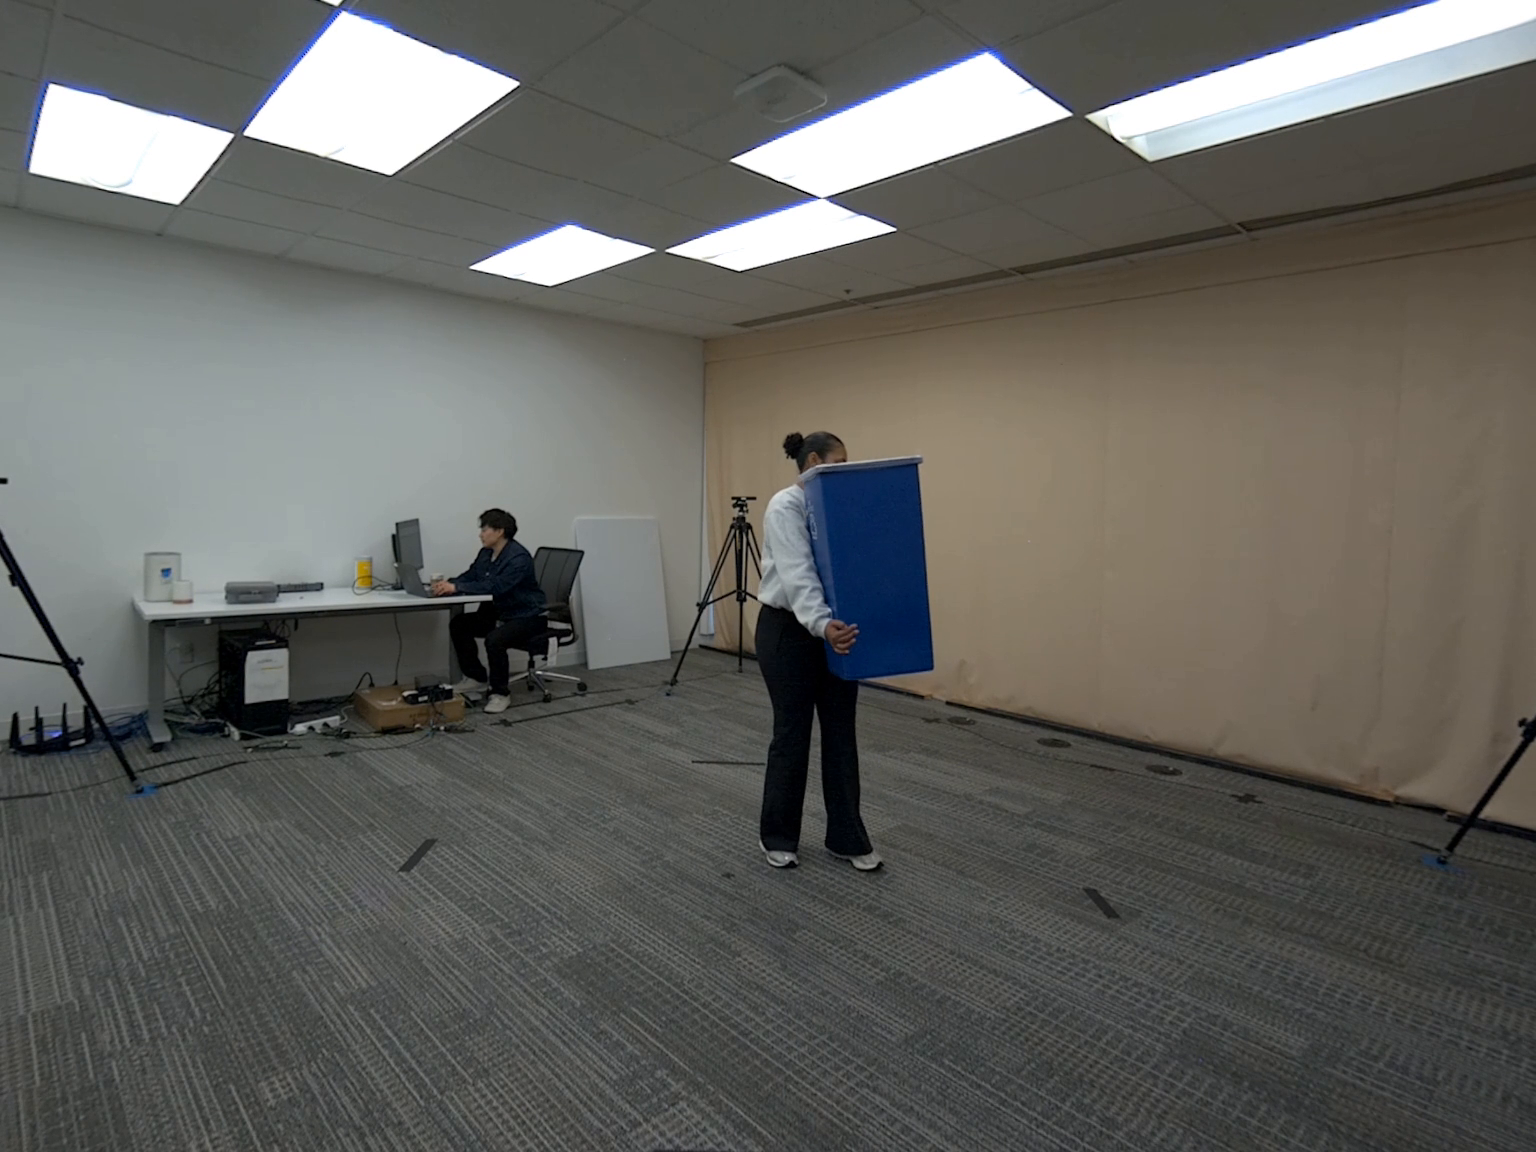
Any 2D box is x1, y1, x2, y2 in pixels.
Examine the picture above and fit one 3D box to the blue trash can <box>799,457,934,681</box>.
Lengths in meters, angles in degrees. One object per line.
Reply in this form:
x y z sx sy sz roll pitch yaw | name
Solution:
0.329 -0.028 2.928 0.372 0.714 0.380 -5 -1 -8 | blue trash can
